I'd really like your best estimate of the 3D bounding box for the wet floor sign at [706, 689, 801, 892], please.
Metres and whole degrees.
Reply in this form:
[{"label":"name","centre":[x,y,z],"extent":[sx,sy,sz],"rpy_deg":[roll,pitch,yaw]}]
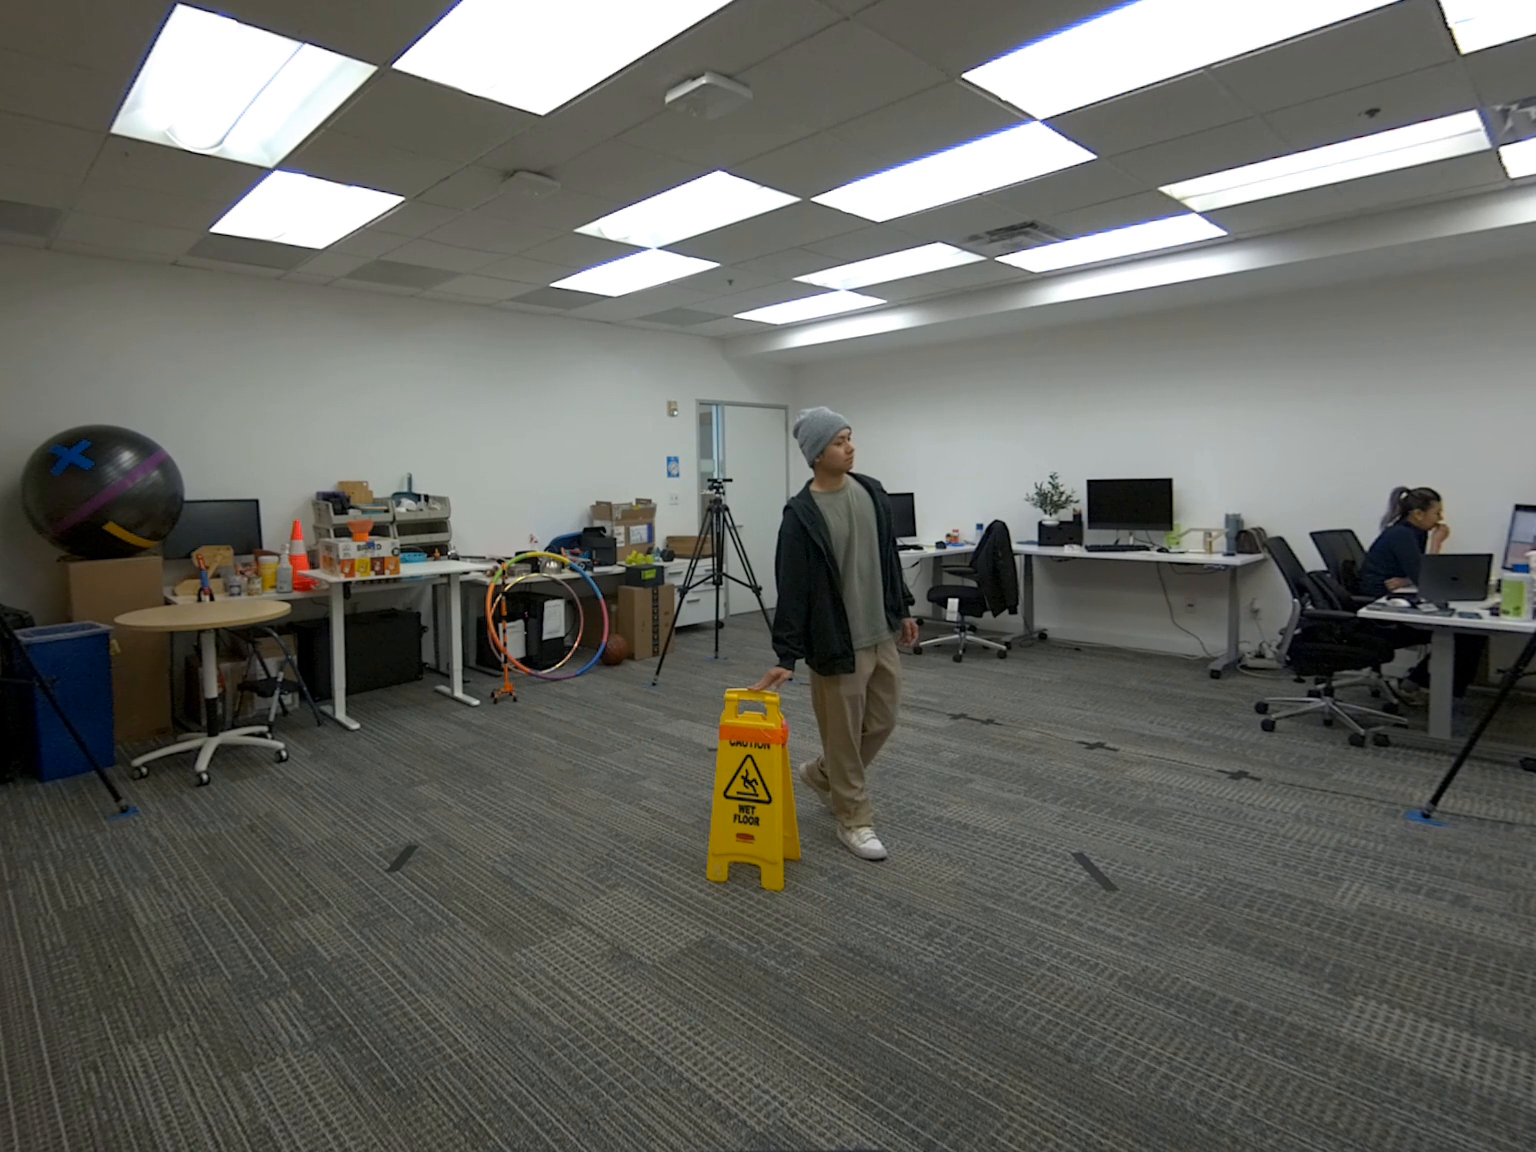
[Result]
[{"label":"wet floor sign","centre":[-0.050,0.729,3.032],"extent":[0.287,0.643,0.286],"rpy_deg":[0,5,18]}]
